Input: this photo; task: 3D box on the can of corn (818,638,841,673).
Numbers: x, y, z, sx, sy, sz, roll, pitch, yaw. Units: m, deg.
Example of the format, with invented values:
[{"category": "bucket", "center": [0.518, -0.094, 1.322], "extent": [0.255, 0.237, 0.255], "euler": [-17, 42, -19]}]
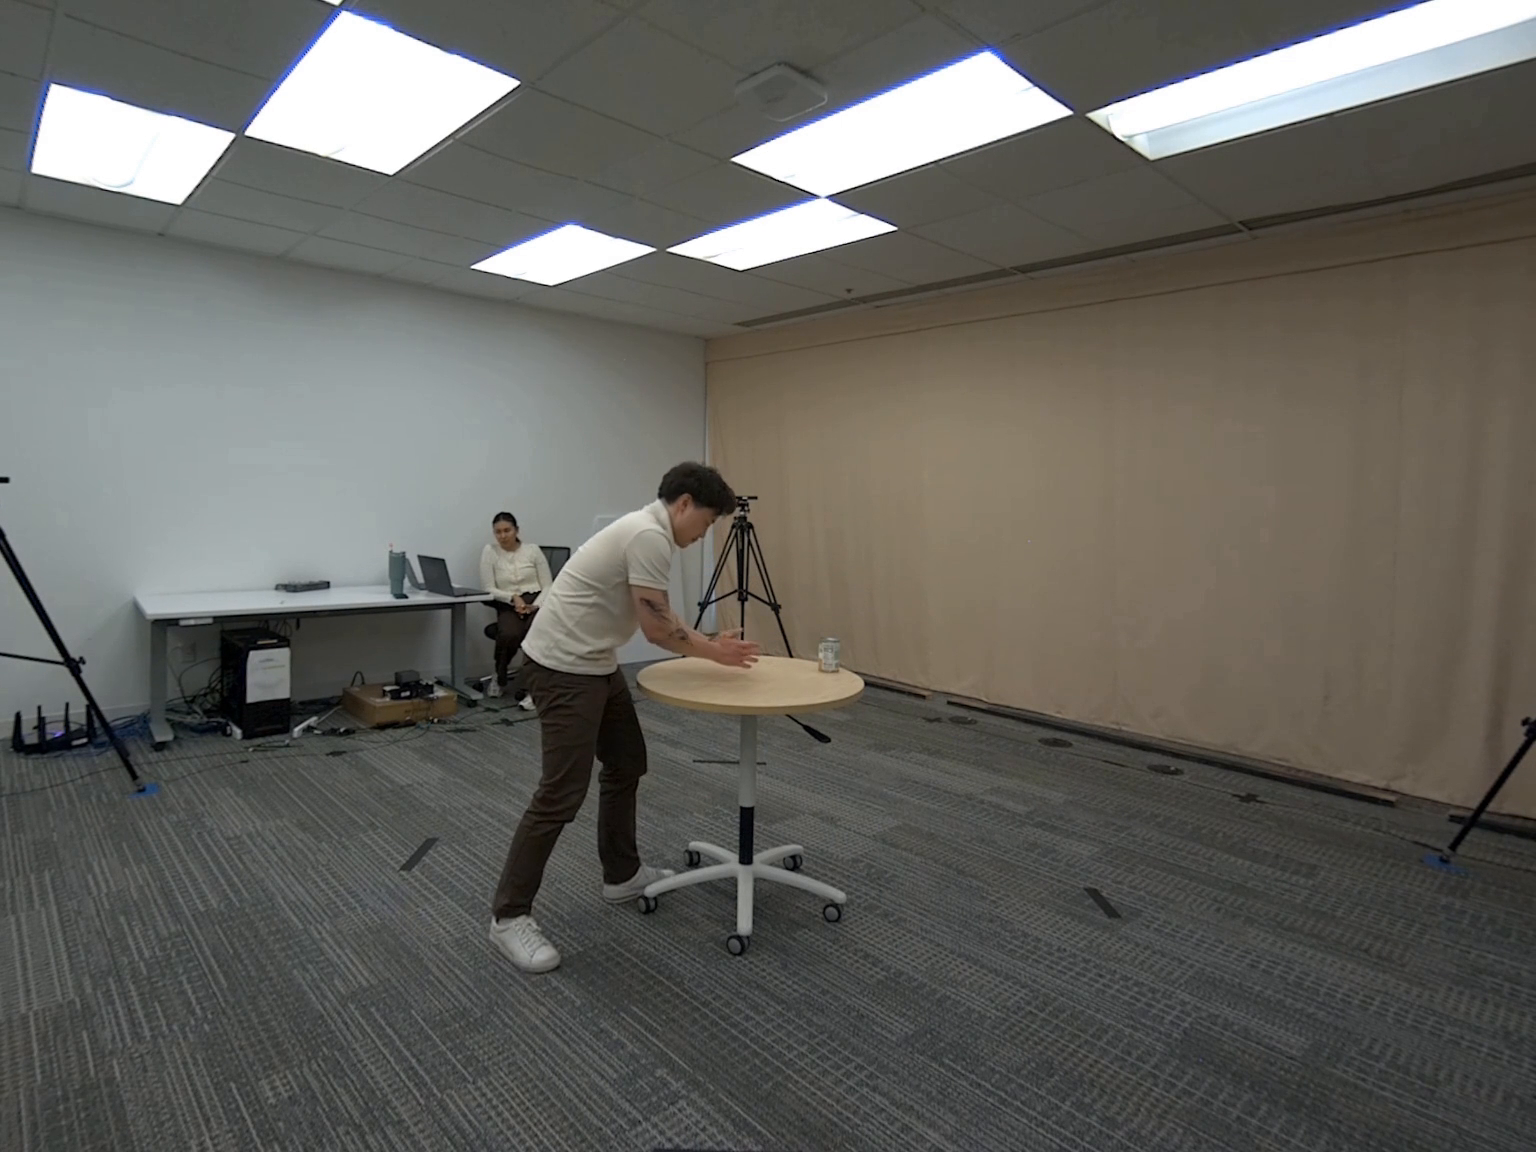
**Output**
[{"category": "can of corn", "center": [0.202, 0.281, 2.987], "extent": [0.074, 0.111, 0.074], "euler": [2, 2, -1]}]
